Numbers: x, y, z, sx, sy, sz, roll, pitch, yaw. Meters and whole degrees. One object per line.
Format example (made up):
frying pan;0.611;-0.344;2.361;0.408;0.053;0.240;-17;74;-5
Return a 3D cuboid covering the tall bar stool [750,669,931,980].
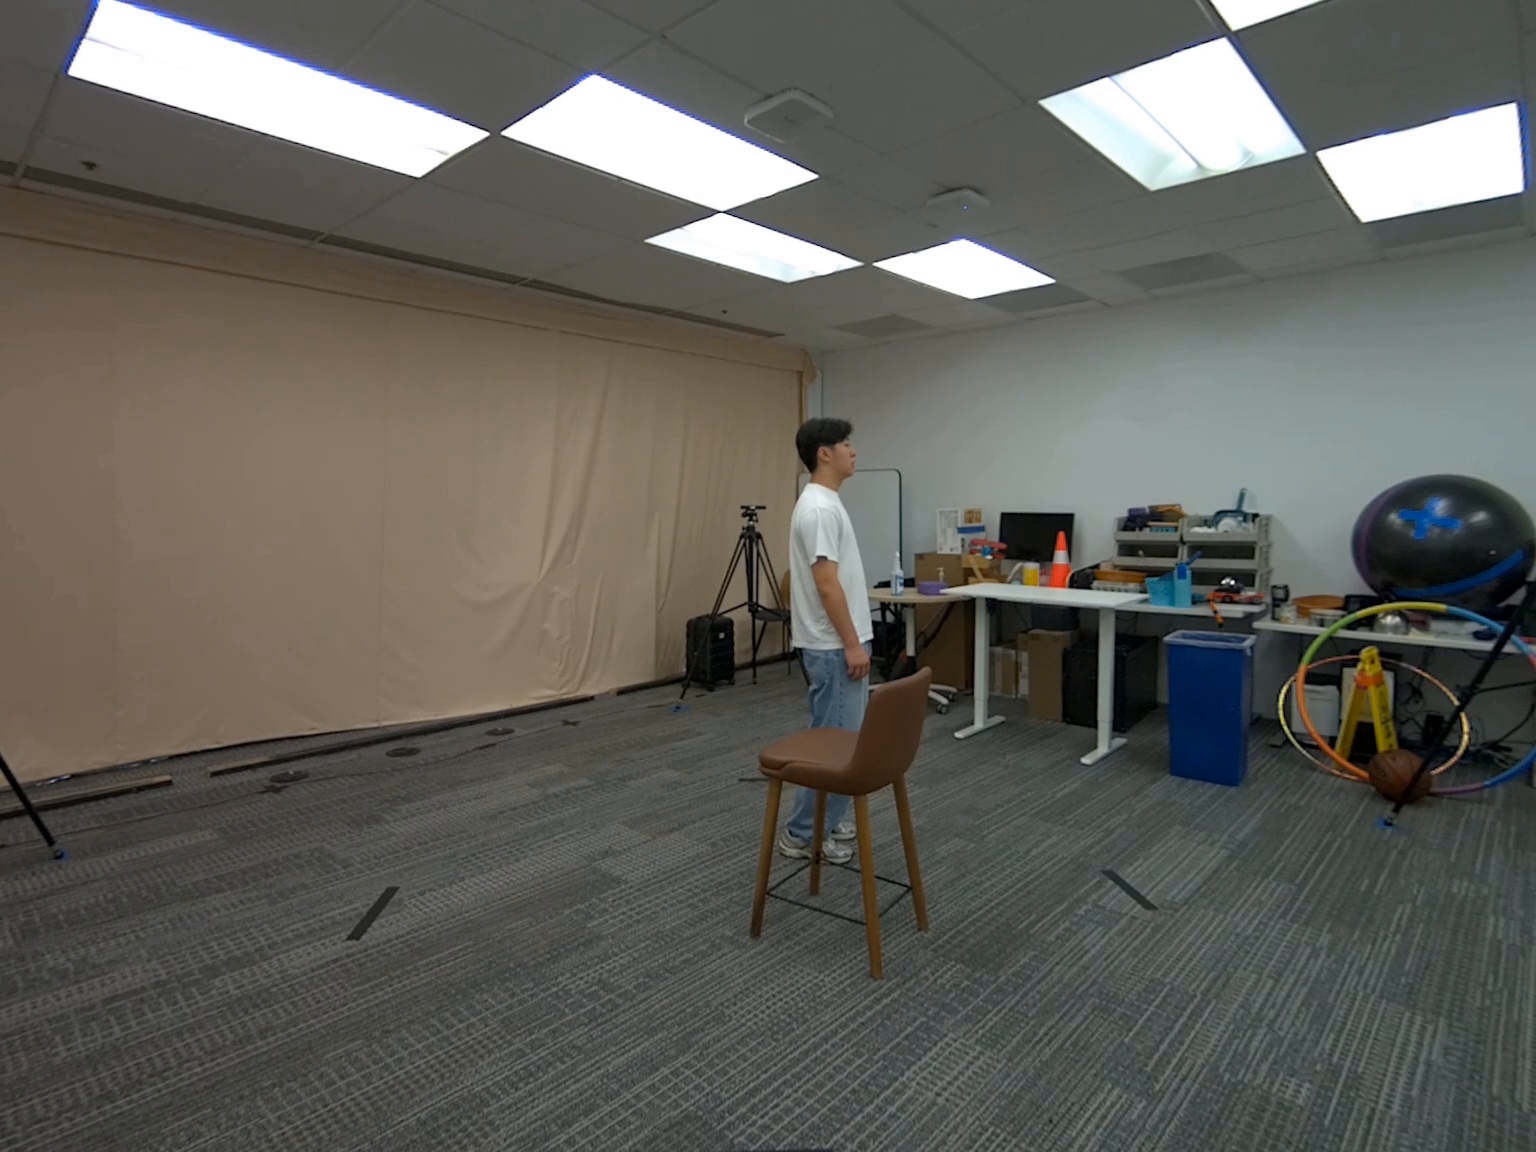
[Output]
tall bar stool;0.242;0.727;2.725;0.483;0.887;0.443;5;6;35
